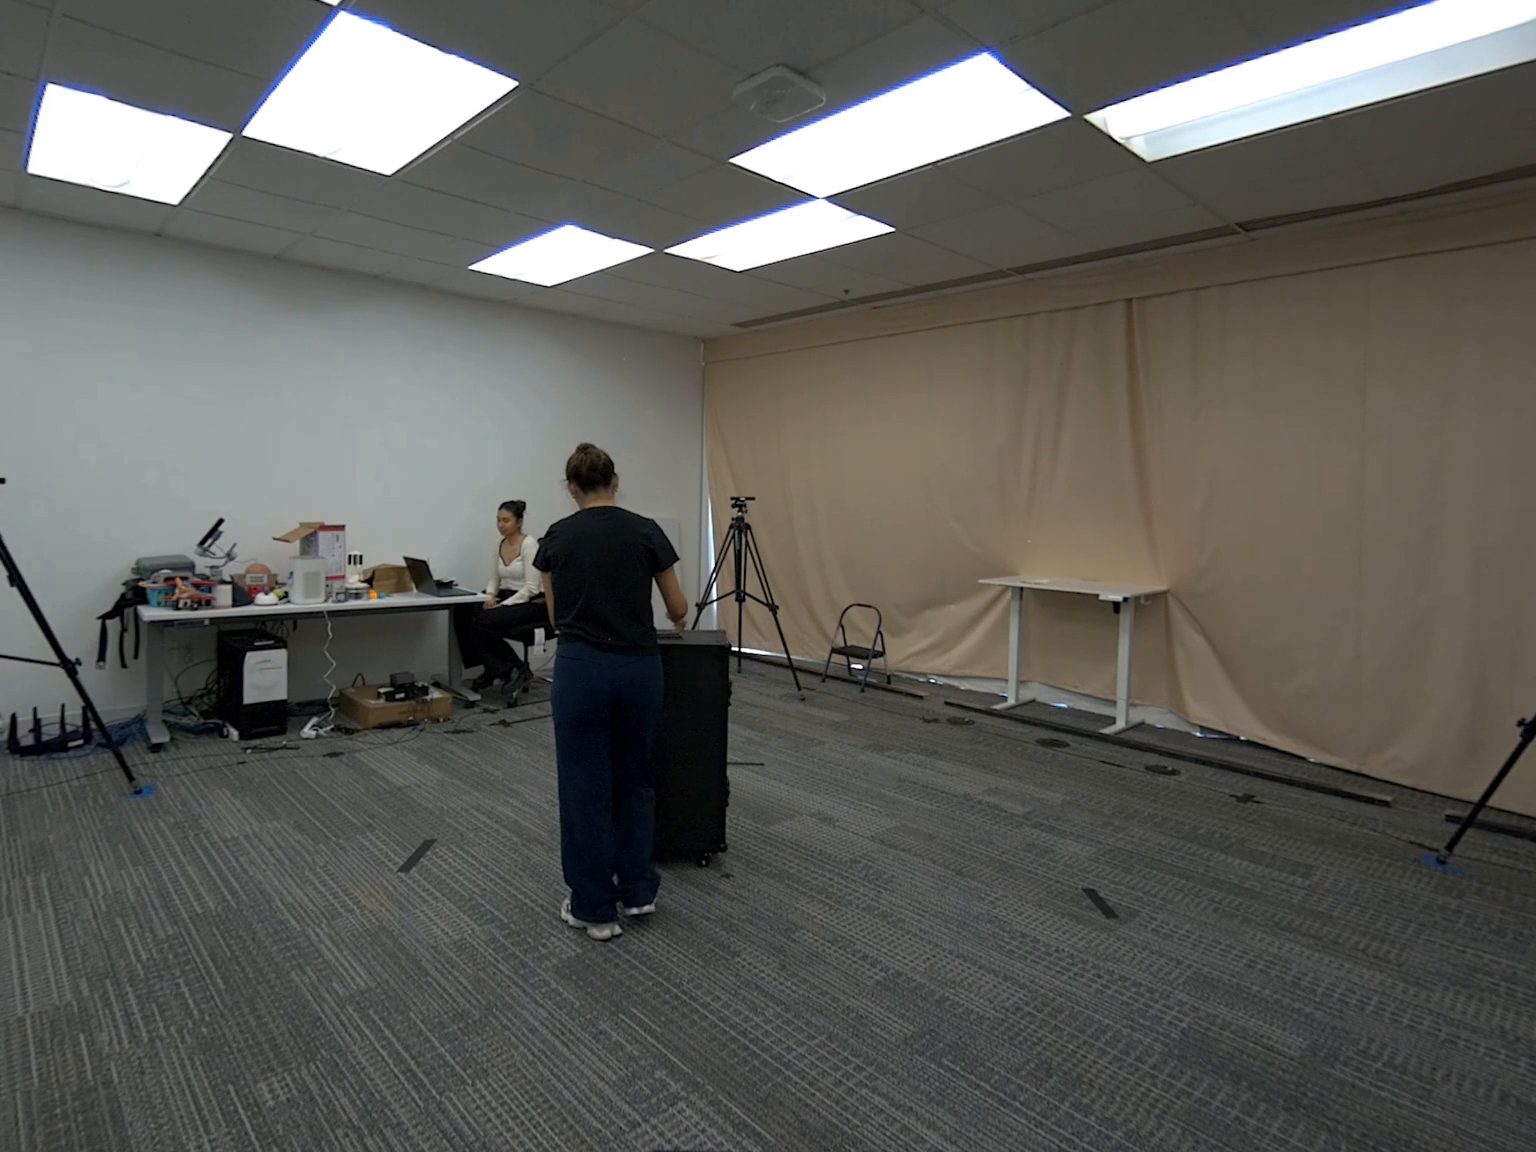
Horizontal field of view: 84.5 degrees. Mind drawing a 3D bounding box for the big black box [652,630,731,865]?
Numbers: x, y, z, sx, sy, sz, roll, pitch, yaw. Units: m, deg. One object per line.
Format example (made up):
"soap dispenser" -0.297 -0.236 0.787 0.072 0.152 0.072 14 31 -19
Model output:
"big black box" -0.418 0.659 3.278 0.518 0.860 0.399 1 2 -7
